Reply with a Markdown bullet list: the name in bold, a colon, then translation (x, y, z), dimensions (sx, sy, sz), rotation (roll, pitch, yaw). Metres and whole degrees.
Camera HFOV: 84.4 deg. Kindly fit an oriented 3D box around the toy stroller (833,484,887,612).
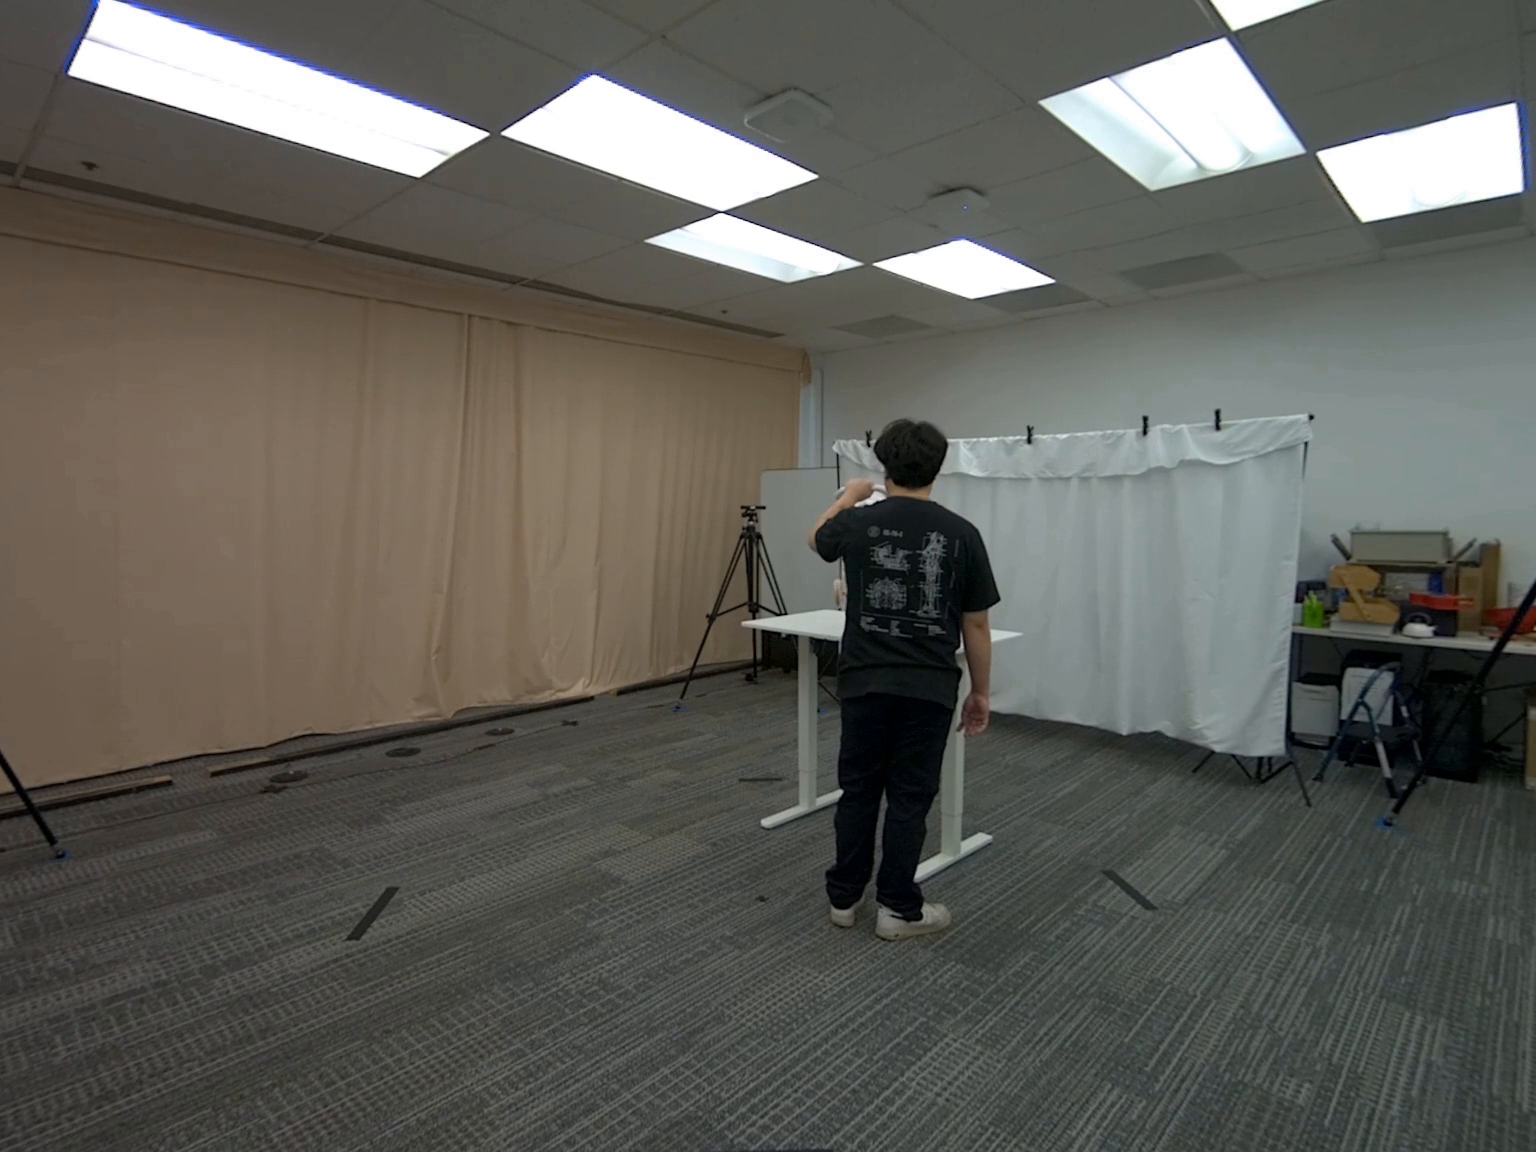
- **toy stroller**: translation (0.407, -0.115, 3.331), dimensions (0.287, 0.531, 0.338), rotation (-2, 11, 17)
